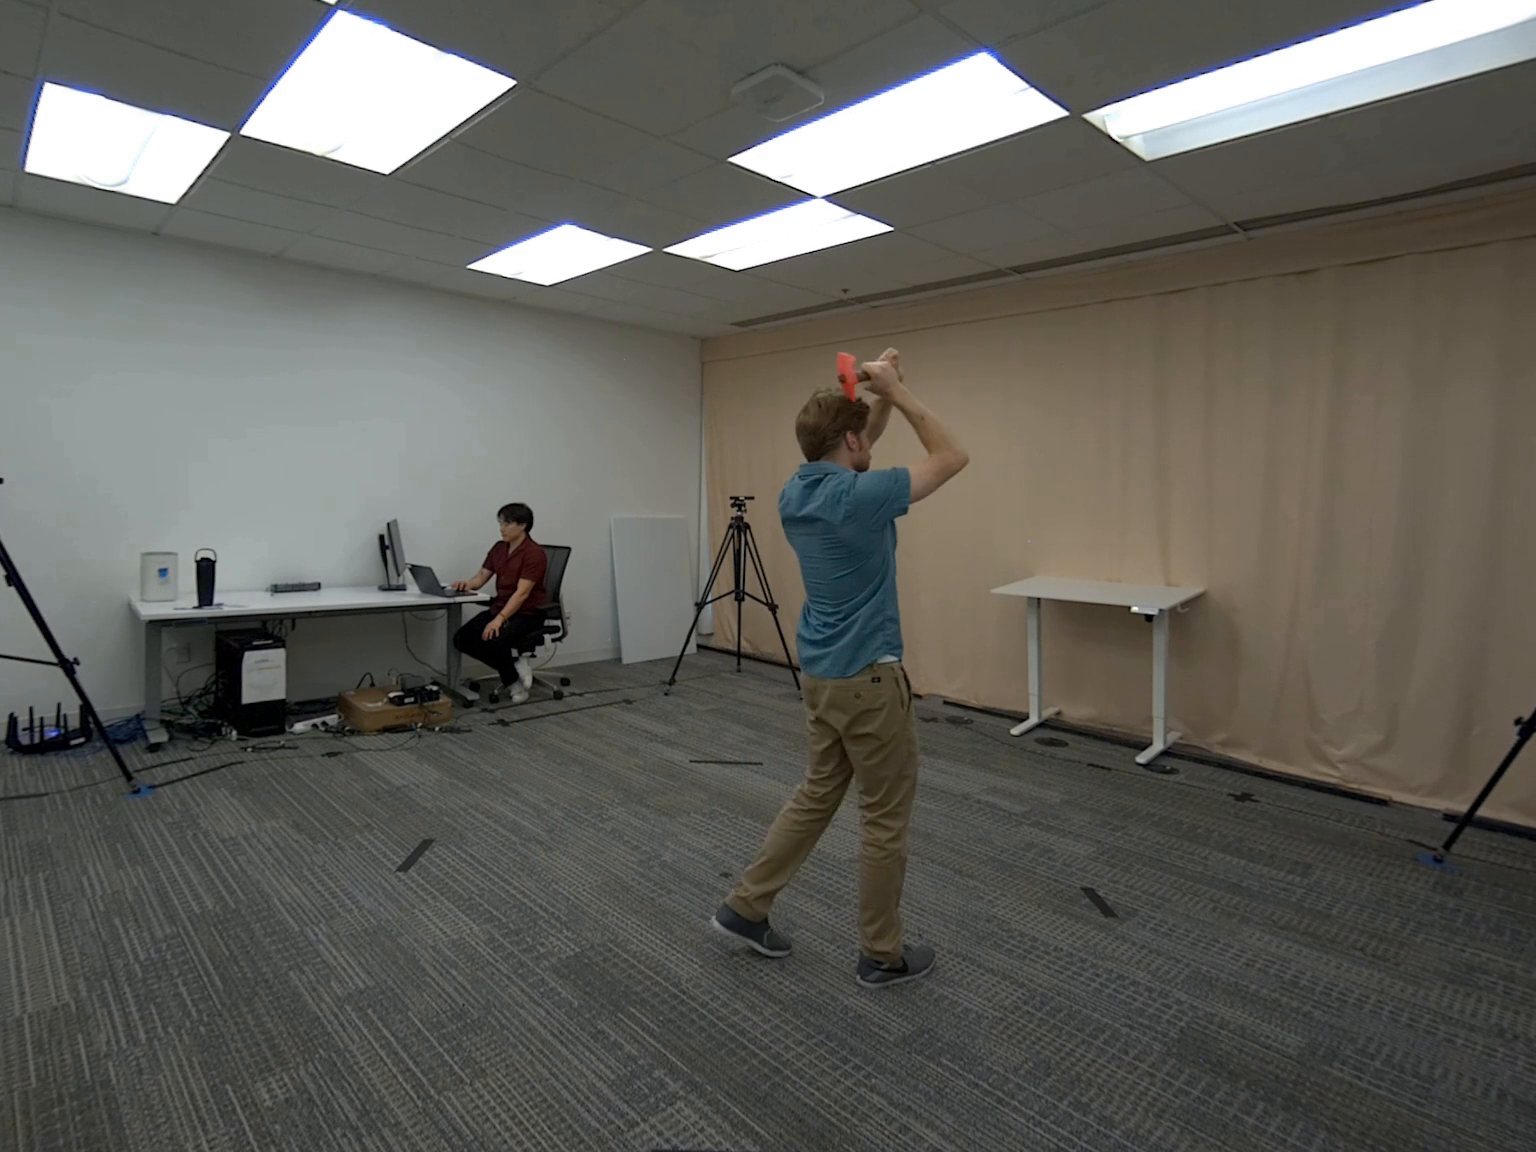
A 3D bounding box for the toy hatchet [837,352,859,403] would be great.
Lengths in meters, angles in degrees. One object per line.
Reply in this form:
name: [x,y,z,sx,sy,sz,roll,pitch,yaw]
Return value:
toy hatchet: [0.252,-0.584,2.322,0.030,0.129,0.269,-14,22,44]
